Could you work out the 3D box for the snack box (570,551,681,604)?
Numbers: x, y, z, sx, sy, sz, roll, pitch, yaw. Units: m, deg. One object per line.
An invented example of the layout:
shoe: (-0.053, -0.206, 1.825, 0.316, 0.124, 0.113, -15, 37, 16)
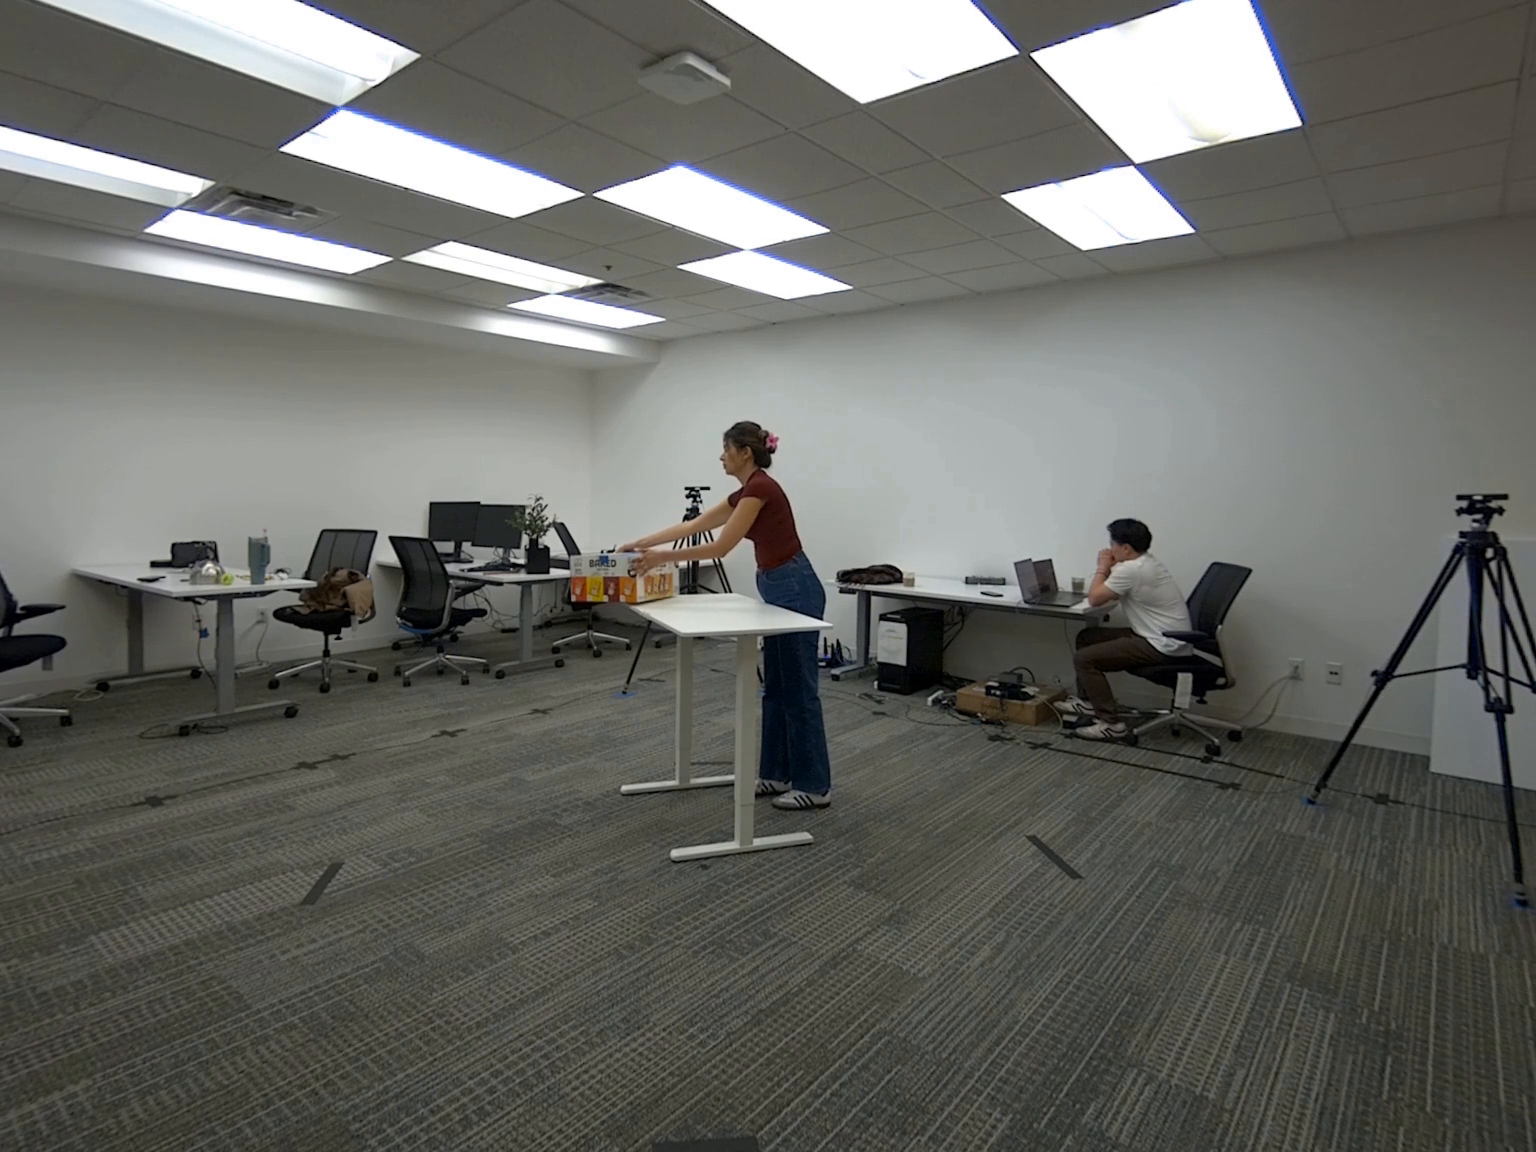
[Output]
snack box: (-0.650, -0.004, 3.869, 0.348, 0.205, 0.397, 0, 4, 22)
